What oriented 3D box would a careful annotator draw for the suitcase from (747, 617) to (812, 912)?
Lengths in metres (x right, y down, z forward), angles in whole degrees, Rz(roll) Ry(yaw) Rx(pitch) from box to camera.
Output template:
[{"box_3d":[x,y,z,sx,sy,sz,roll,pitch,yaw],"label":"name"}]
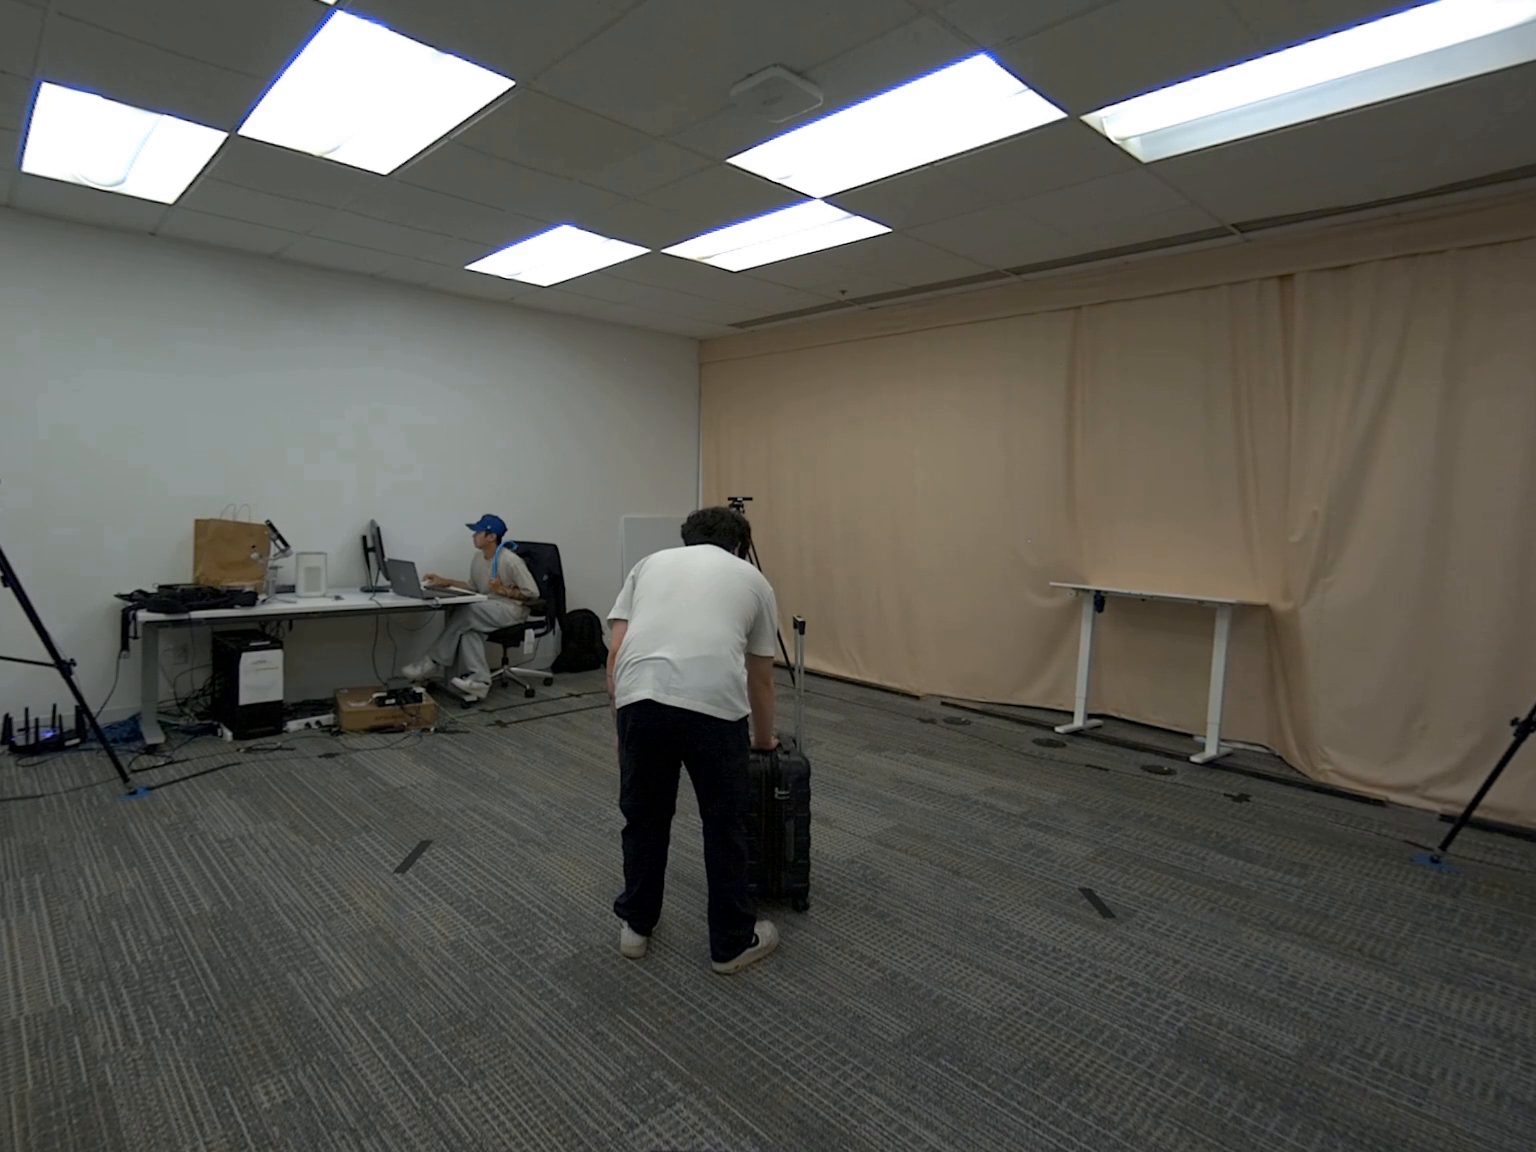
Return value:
[{"box_3d":[0.002,0.652,2.948,0.256,0.976,0.386,-2,3,-4],"label":"suitcase"}]
